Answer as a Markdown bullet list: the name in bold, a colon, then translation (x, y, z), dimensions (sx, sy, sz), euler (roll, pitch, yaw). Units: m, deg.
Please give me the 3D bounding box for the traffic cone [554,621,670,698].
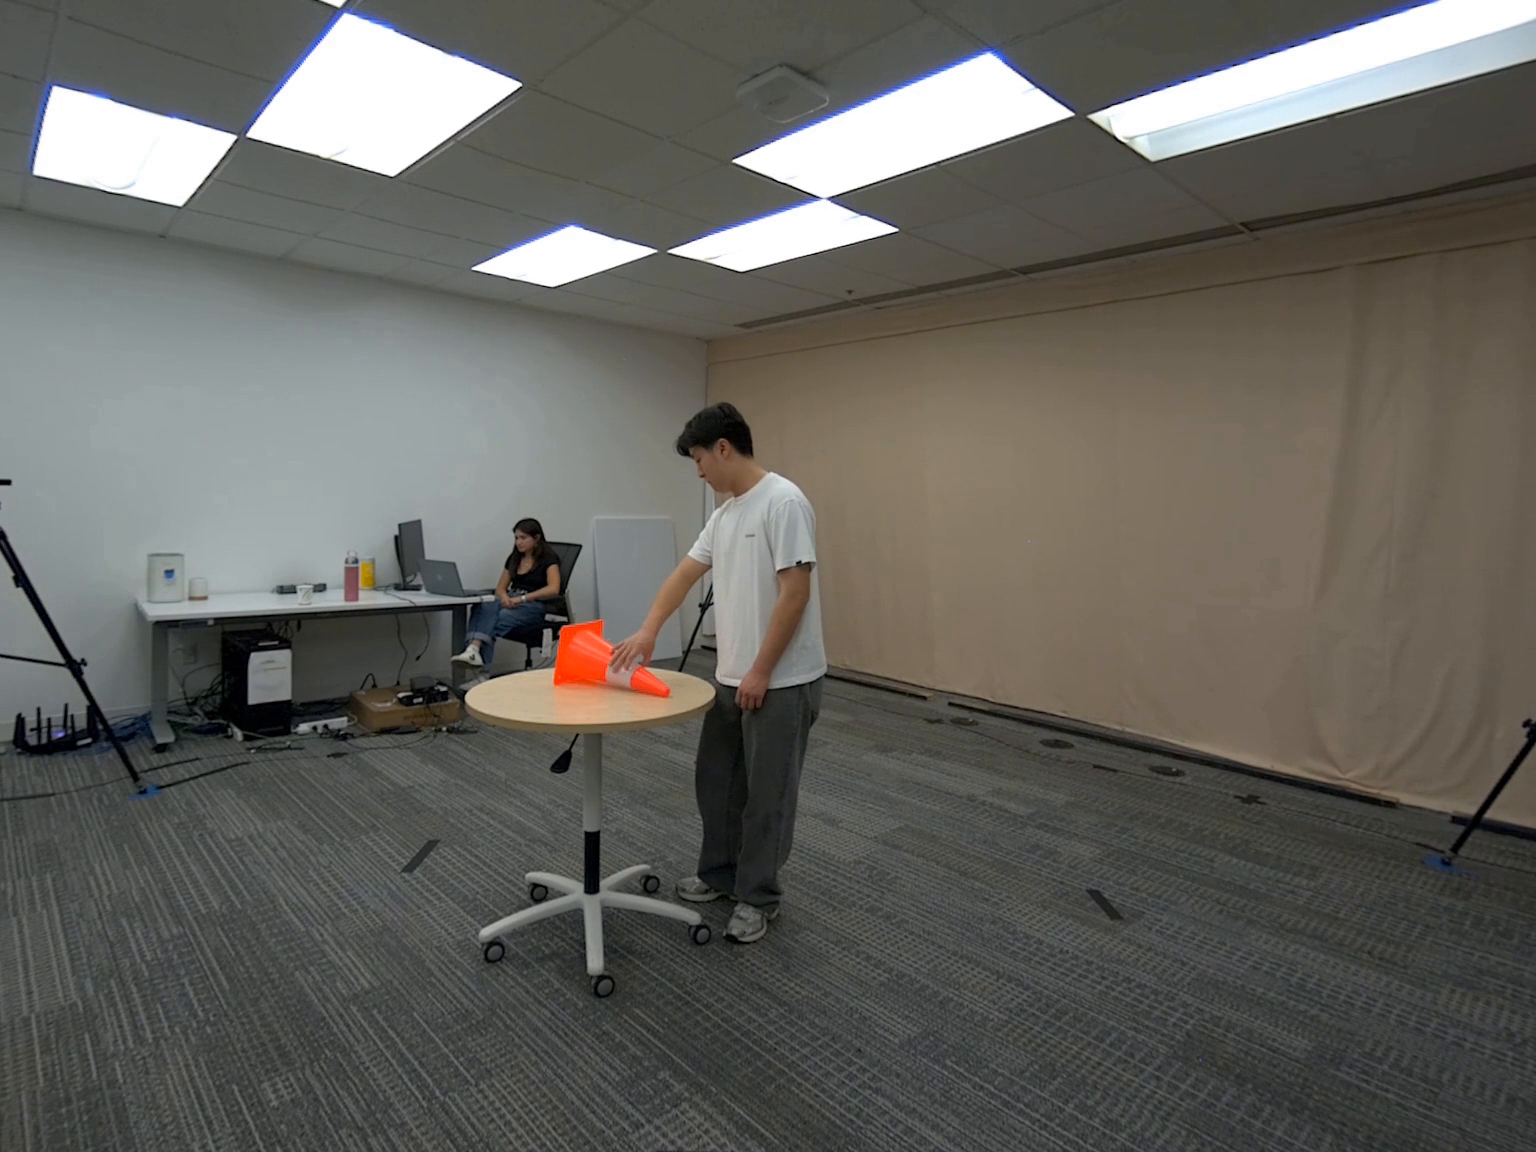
- **traffic cone**: translation (-0.463, 0.300, 2.655), dimensions (0.394, 0.202, 0.201), euler (17, 11, 31)
